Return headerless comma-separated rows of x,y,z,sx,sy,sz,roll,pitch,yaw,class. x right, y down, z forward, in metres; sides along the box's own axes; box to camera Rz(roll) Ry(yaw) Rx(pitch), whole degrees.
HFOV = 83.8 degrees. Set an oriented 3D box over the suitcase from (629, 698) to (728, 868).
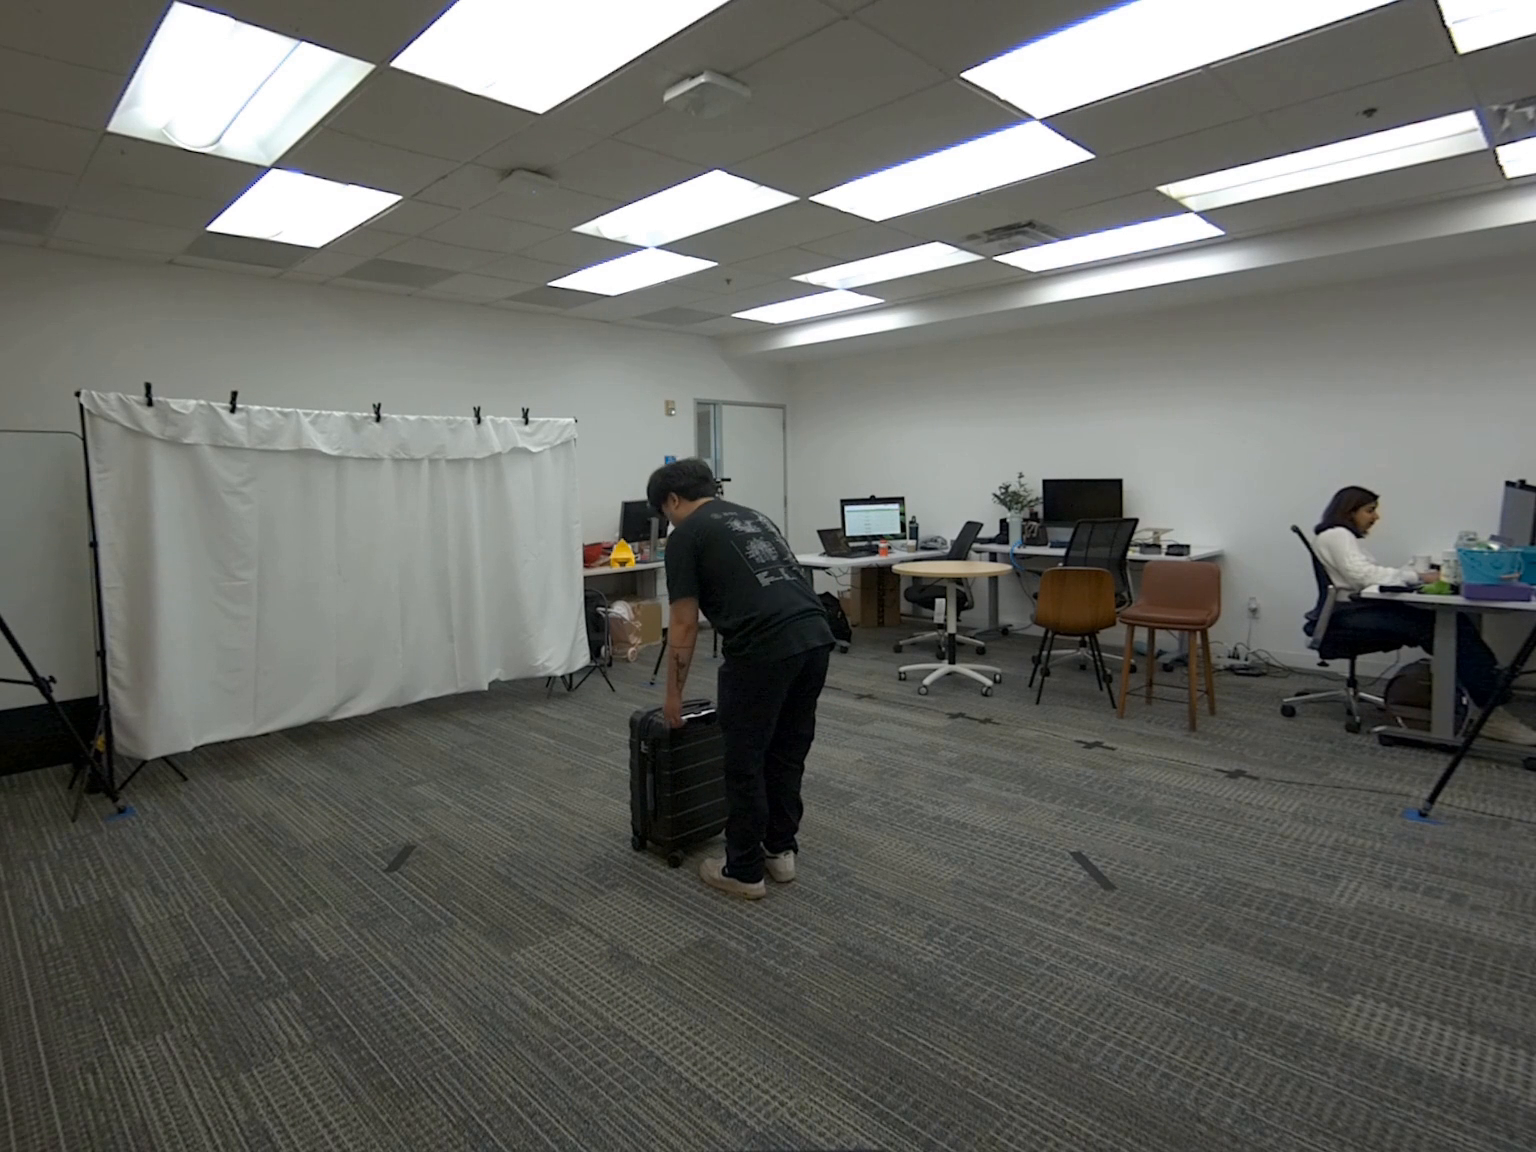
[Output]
-0.340,0.758,3.260,0.366,0.547,0.256,-6,5,-41,suitcase
